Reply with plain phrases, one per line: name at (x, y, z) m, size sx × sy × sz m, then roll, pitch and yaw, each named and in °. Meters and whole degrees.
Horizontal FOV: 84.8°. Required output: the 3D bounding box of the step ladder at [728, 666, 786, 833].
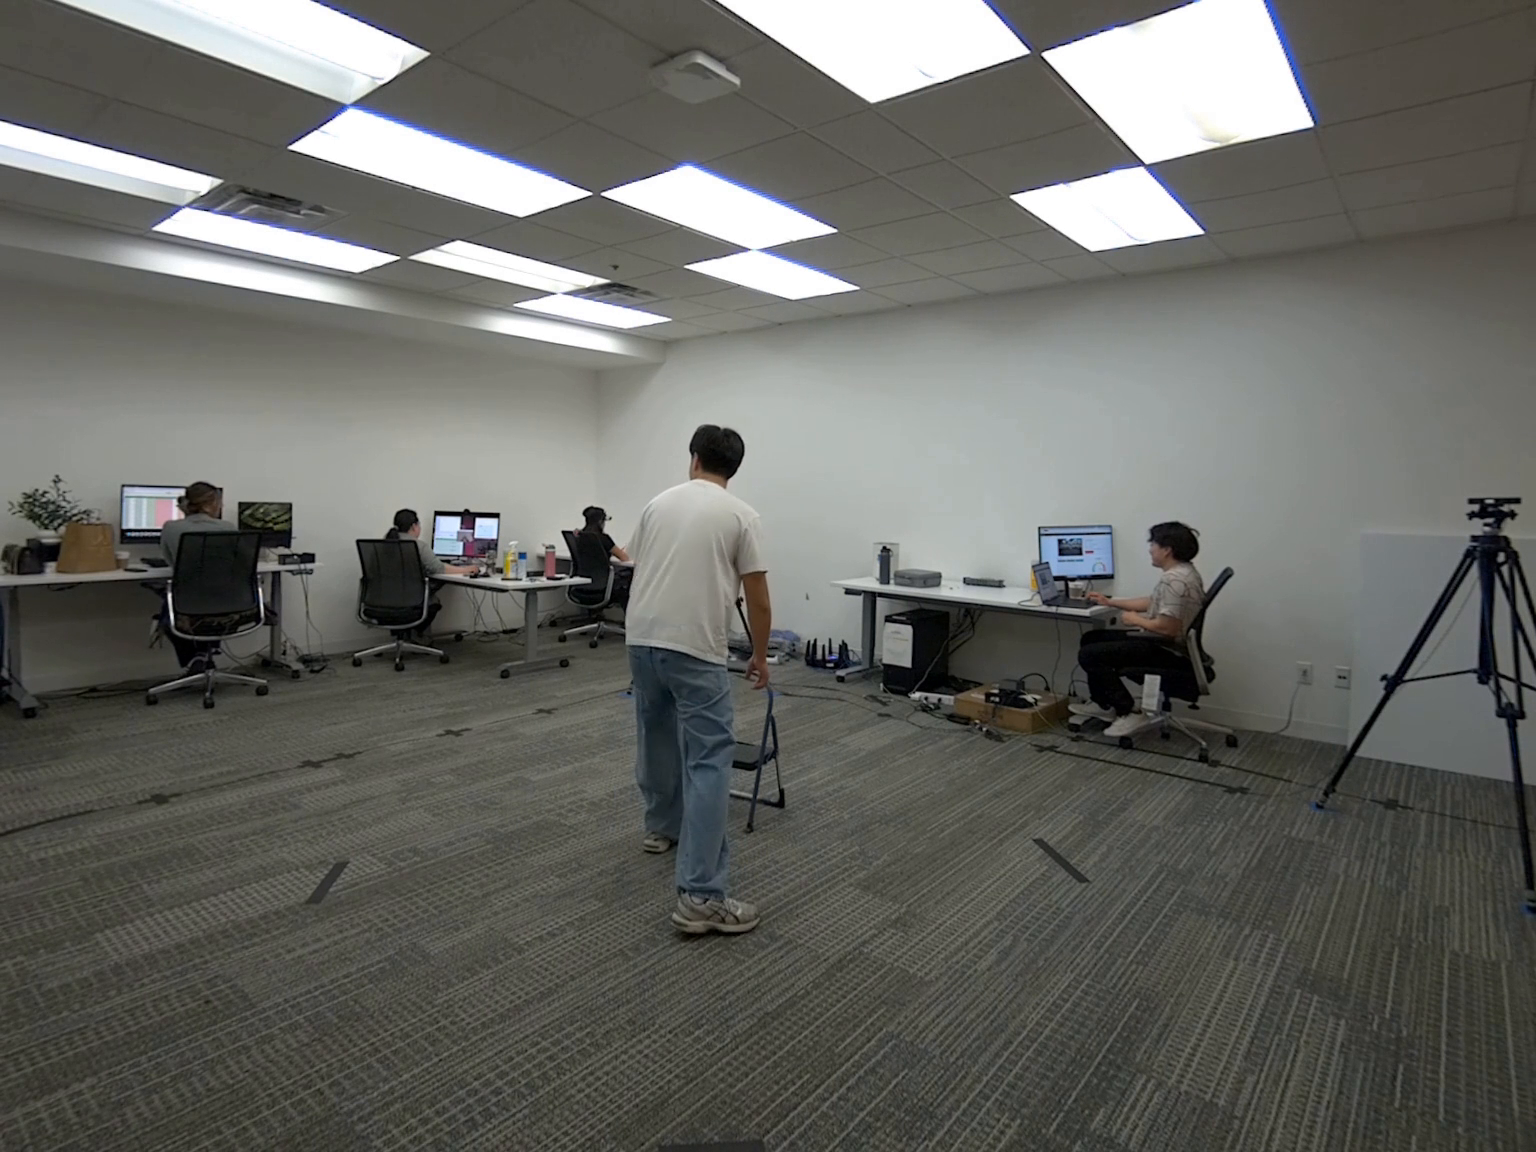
step ladder at (-0.182, 0.706, 3.675) m, size 0.443 × 0.604 × 0.340 m, roll 3°, pitch 4°, yaw 28°
